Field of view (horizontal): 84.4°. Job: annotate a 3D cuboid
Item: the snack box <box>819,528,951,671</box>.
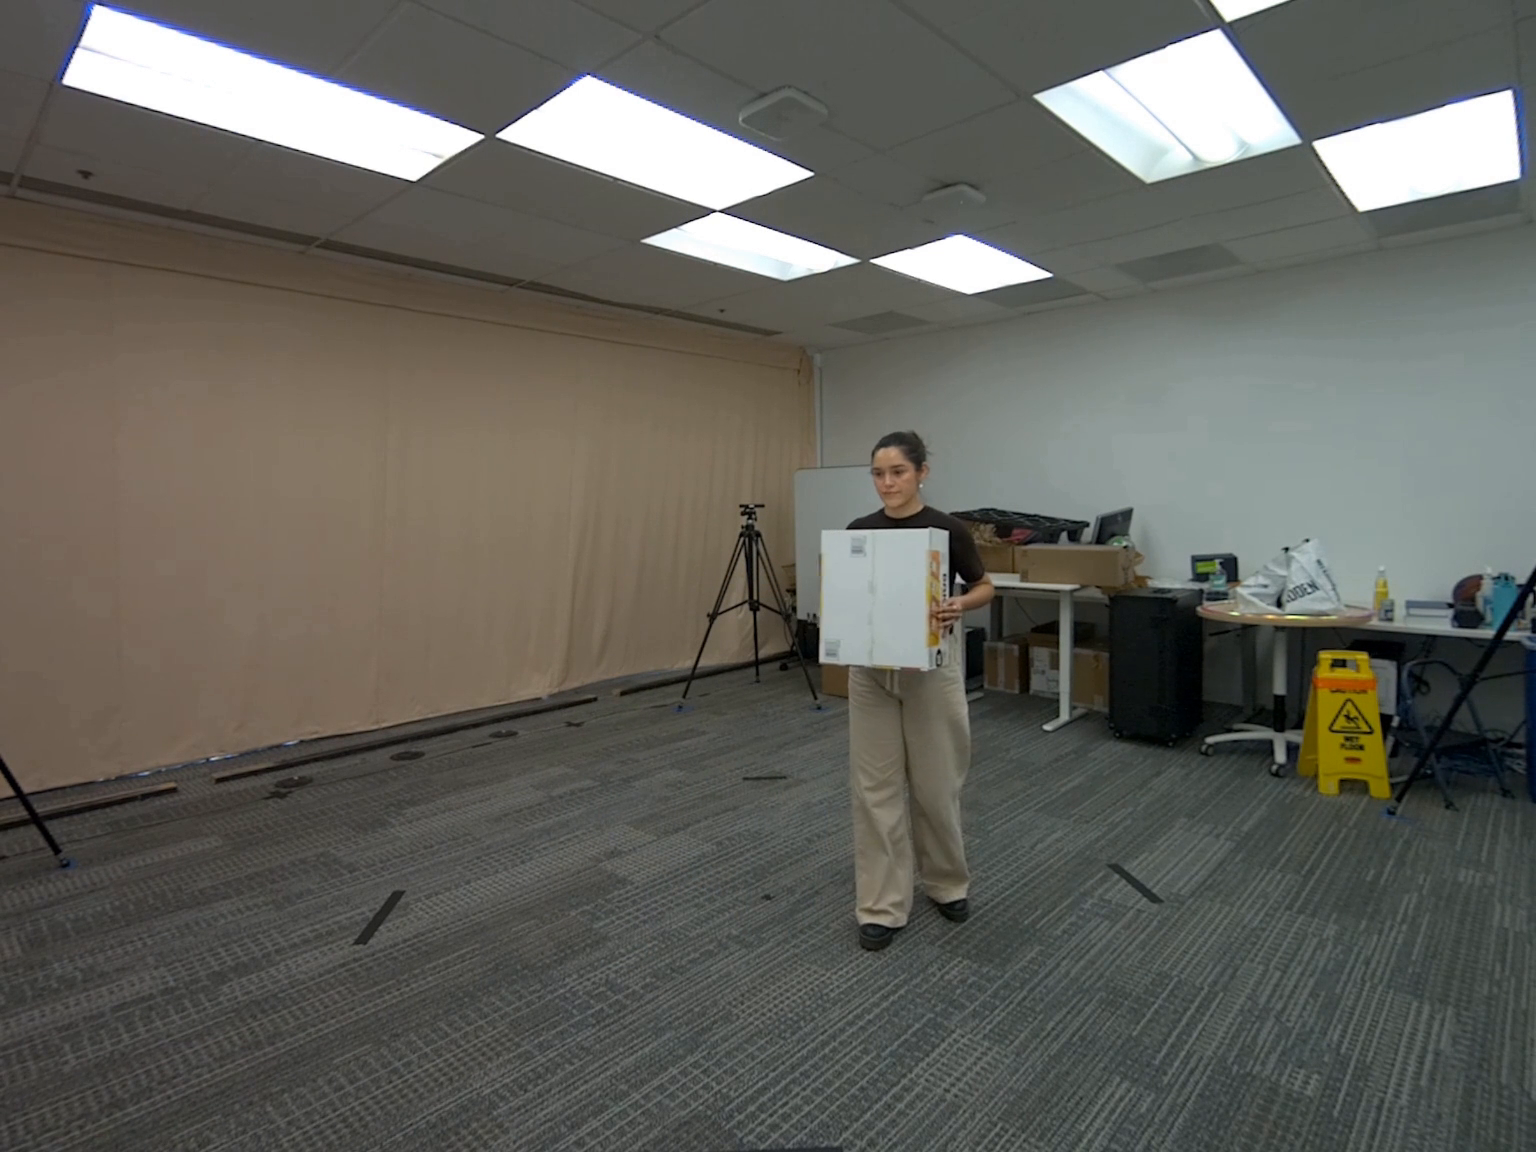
[{"bbox_3d":[0.356,0.066,2.551,0.350,0.405,0.200,0,-2,29],"label":"snack box"}]
